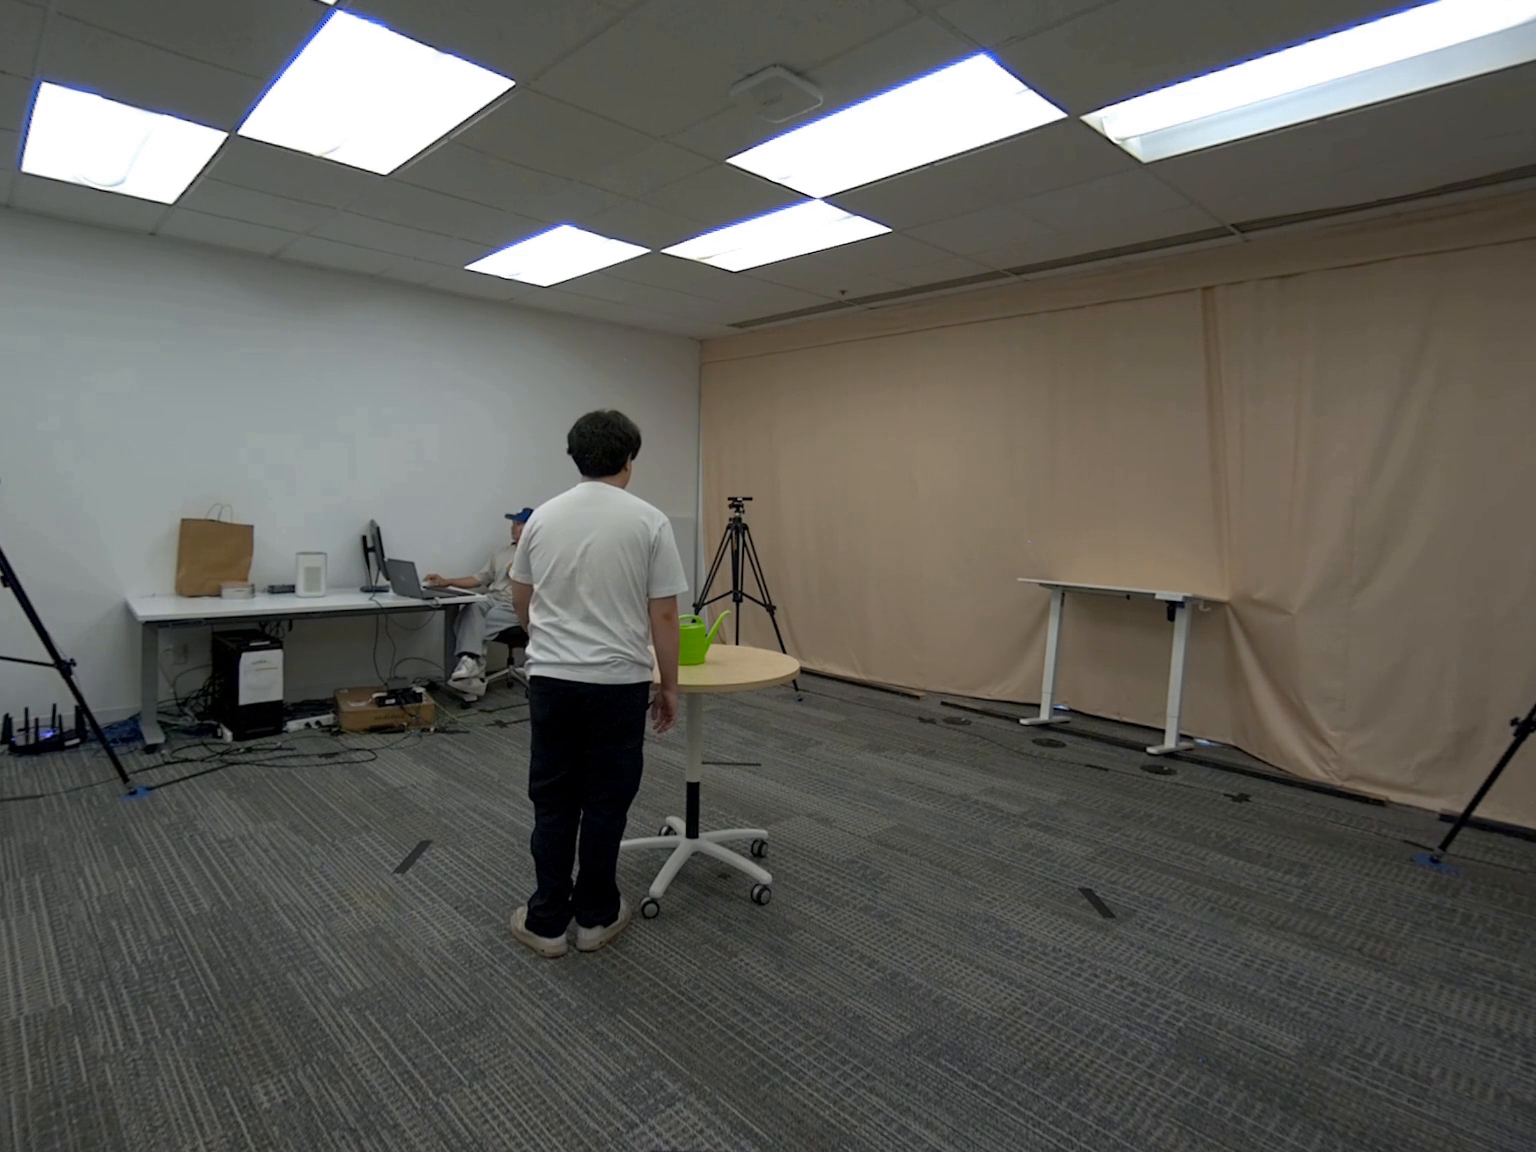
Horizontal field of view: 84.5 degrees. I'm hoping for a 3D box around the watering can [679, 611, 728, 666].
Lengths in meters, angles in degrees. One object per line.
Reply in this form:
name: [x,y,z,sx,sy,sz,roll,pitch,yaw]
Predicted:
watering can: [-0.261,0.230,3.068,0.273,0.176,0.100,-3,7,-28]
